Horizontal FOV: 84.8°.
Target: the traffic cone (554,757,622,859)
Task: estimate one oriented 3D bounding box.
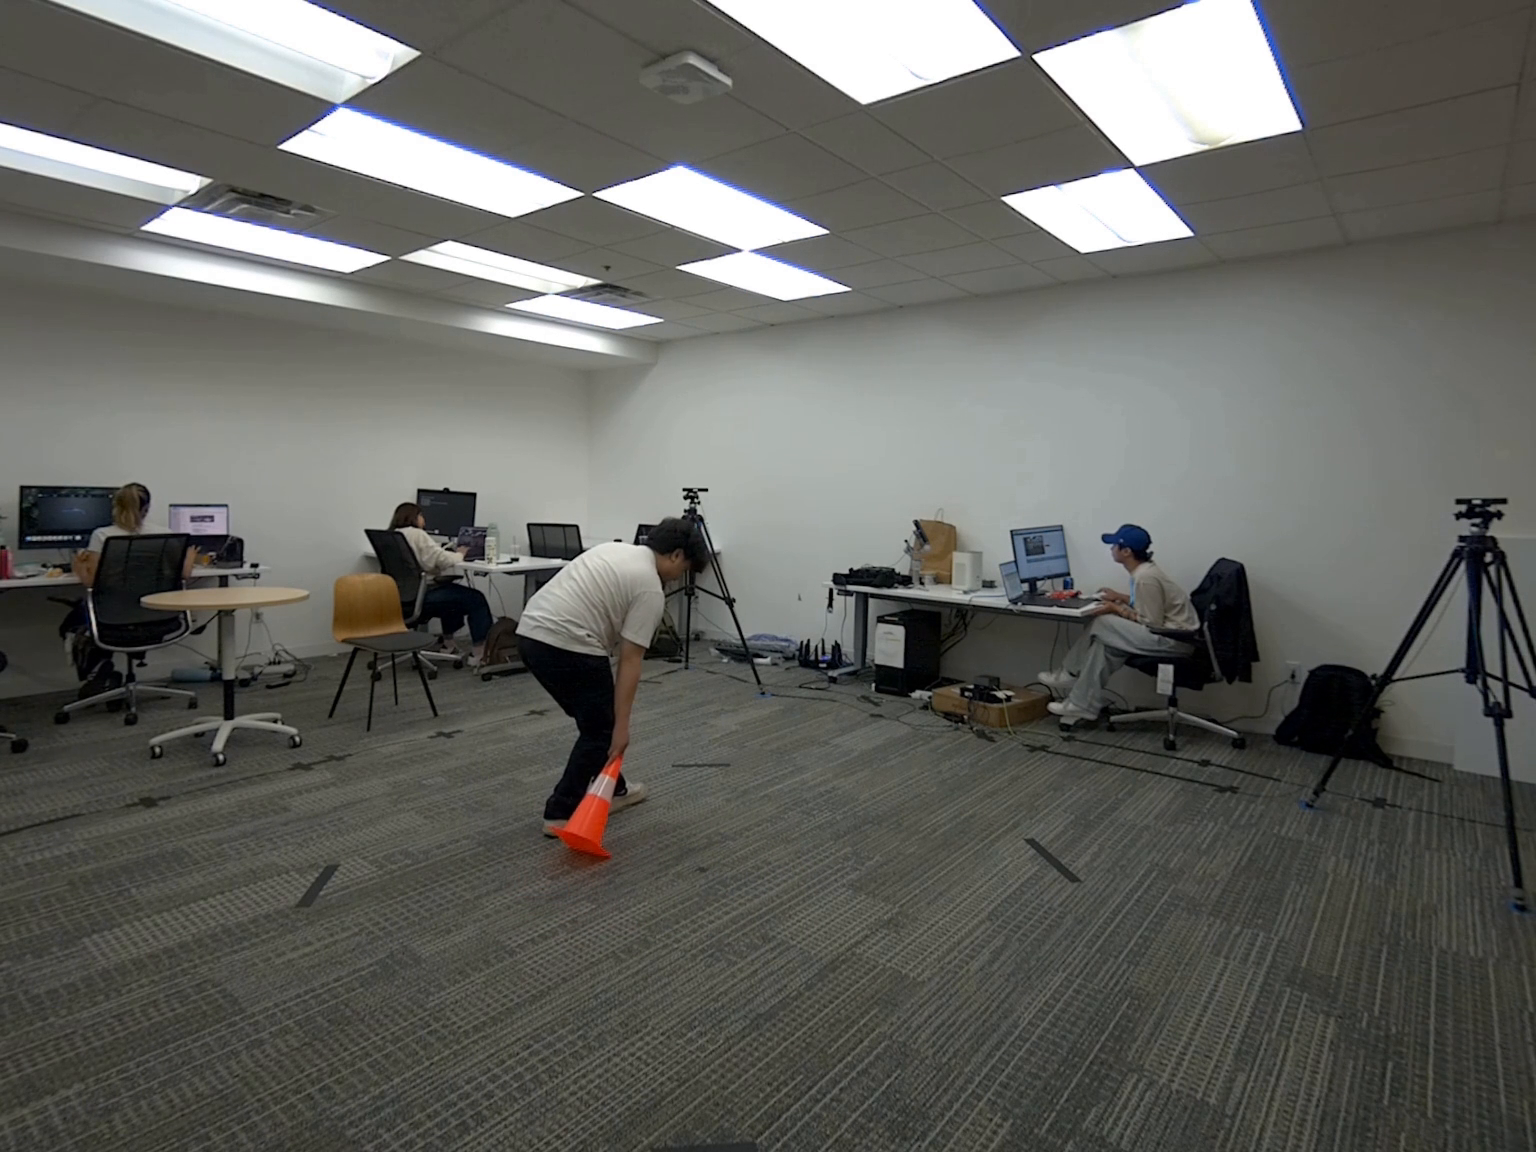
[{"bbox_3d":[-0.657,0.845,3.270,0.210,0.389,0.196,7,-34,21],"label":"traffic cone"}]
